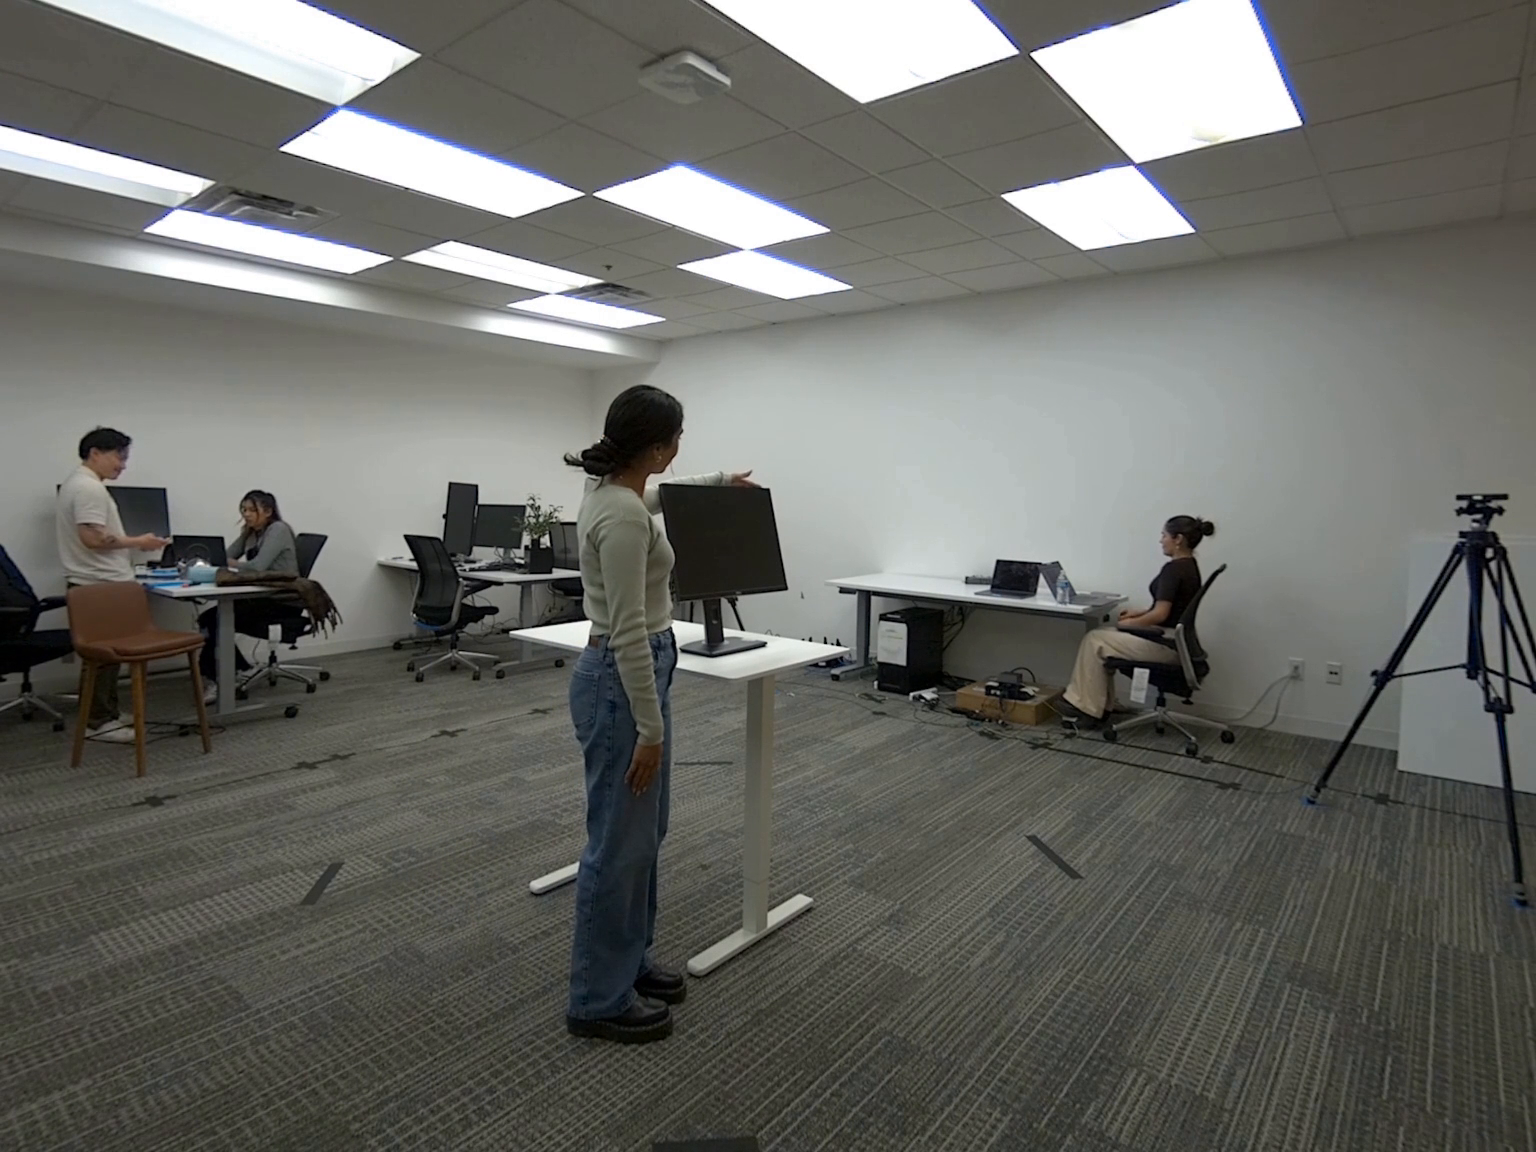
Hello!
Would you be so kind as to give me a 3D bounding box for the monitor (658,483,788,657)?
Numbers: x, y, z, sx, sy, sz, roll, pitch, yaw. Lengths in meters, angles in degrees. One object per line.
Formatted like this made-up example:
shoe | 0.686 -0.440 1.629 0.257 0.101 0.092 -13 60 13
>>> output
monitor | -0.158 -0.024 2.686 0.193 0.522 0.524 0 3 36
